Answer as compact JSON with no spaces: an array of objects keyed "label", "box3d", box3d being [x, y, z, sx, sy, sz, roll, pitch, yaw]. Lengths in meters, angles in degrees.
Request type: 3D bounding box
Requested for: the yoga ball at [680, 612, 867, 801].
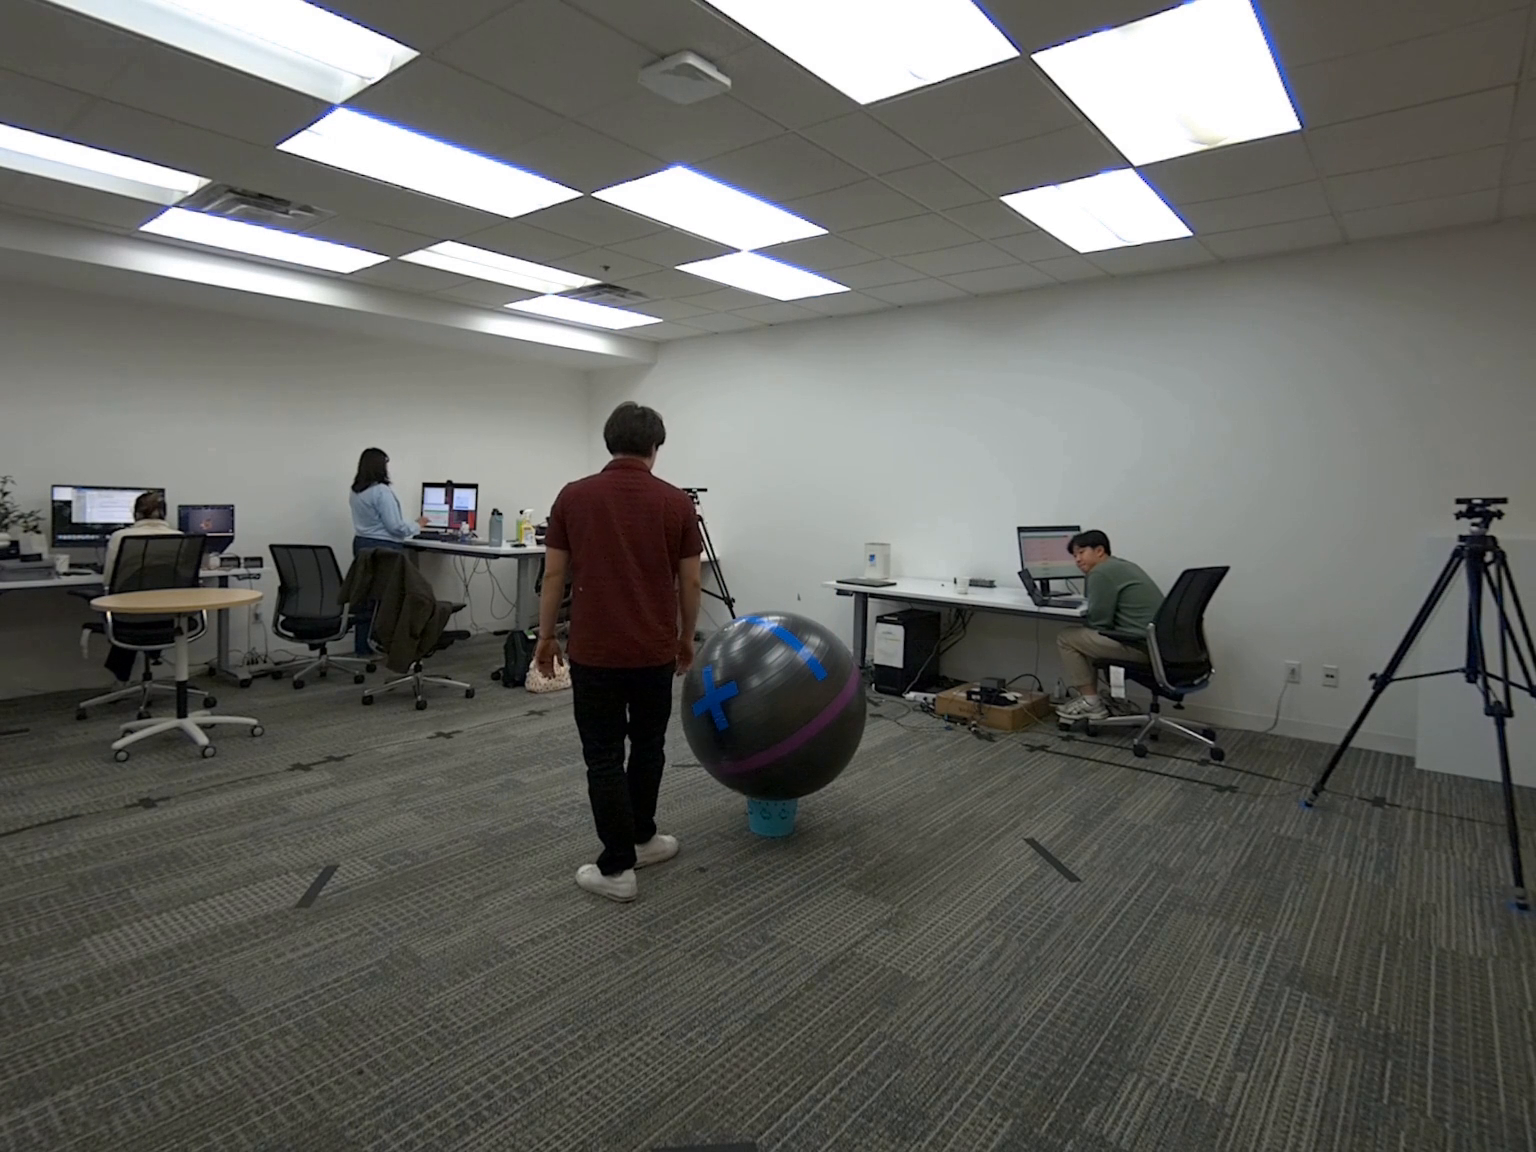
[{"label":"yoga ball","box3d":[0.023,0.526,3.496,0.757,0.755,0.762,1,4,-2]}]
